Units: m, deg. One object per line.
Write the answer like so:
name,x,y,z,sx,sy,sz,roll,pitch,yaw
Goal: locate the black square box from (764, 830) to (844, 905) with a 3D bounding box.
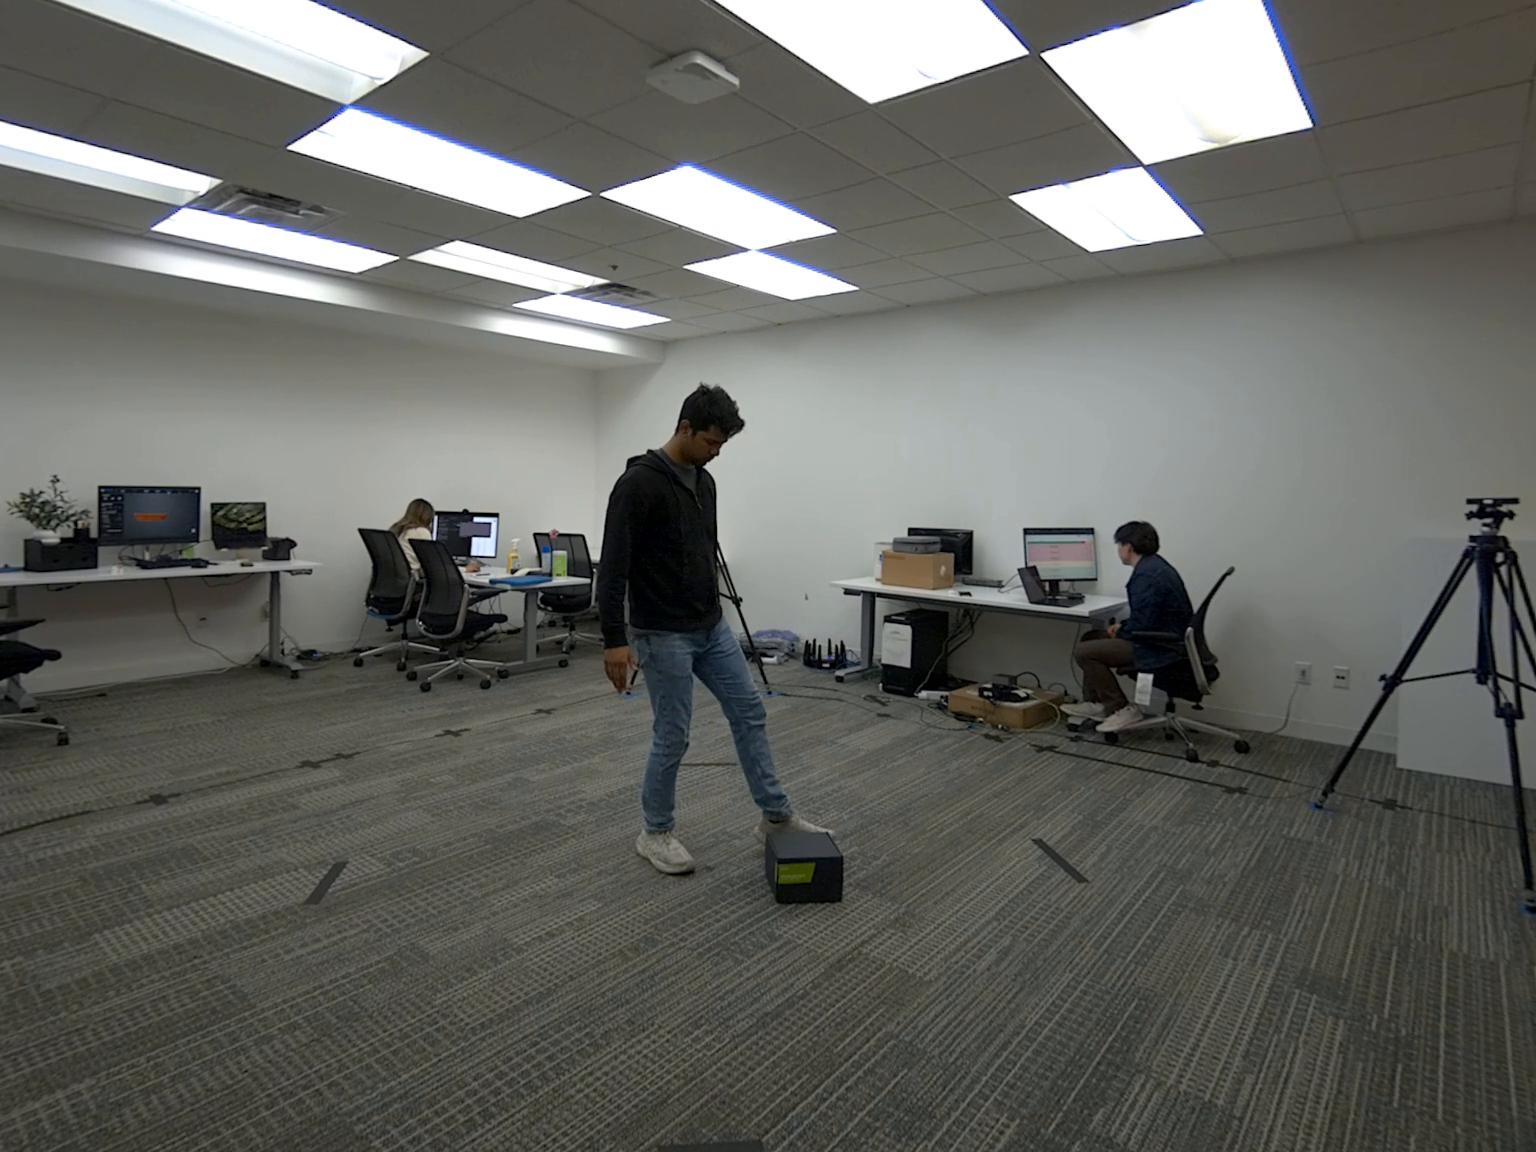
black square box,0.104,1.000,2.964,0.225,0.155,0.220,1,4,-10
